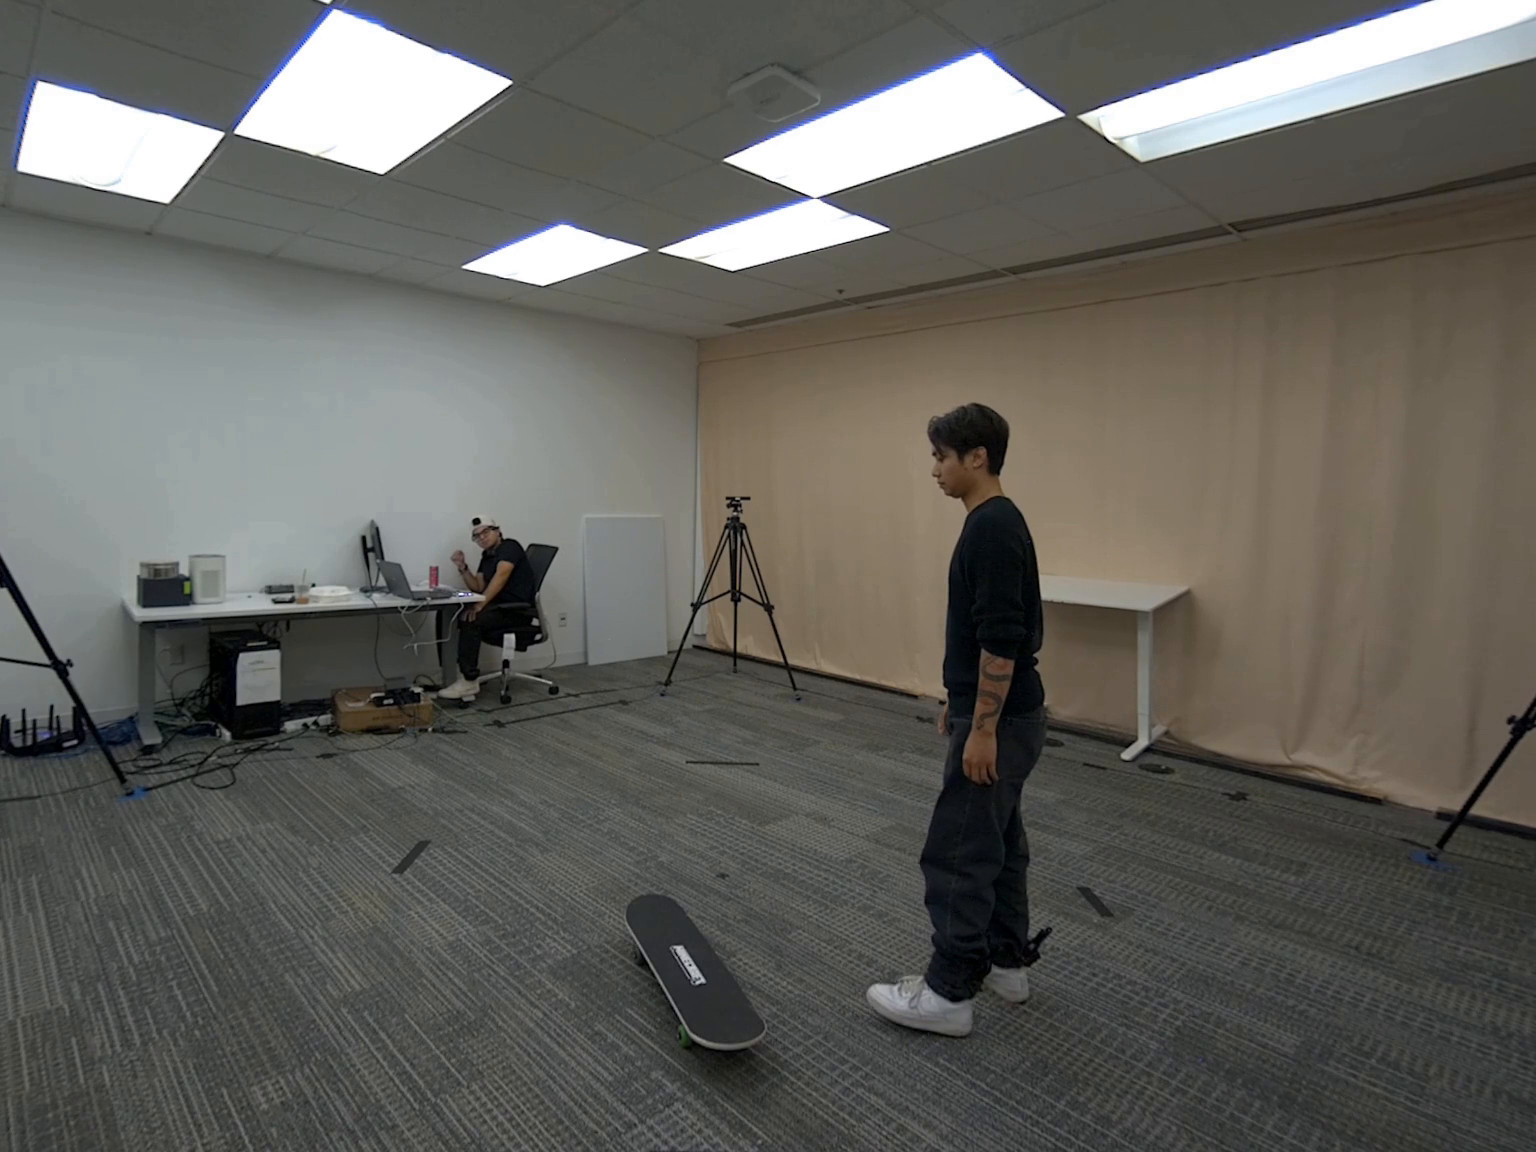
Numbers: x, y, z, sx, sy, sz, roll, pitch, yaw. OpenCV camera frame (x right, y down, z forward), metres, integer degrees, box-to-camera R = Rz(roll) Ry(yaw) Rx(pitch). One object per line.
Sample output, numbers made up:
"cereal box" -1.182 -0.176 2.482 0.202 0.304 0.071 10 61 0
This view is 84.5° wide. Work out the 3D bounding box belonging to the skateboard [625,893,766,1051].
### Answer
"skateboard" -0.233 1.115 2.355 0.190 0.110 0.801 -1 6 -24
